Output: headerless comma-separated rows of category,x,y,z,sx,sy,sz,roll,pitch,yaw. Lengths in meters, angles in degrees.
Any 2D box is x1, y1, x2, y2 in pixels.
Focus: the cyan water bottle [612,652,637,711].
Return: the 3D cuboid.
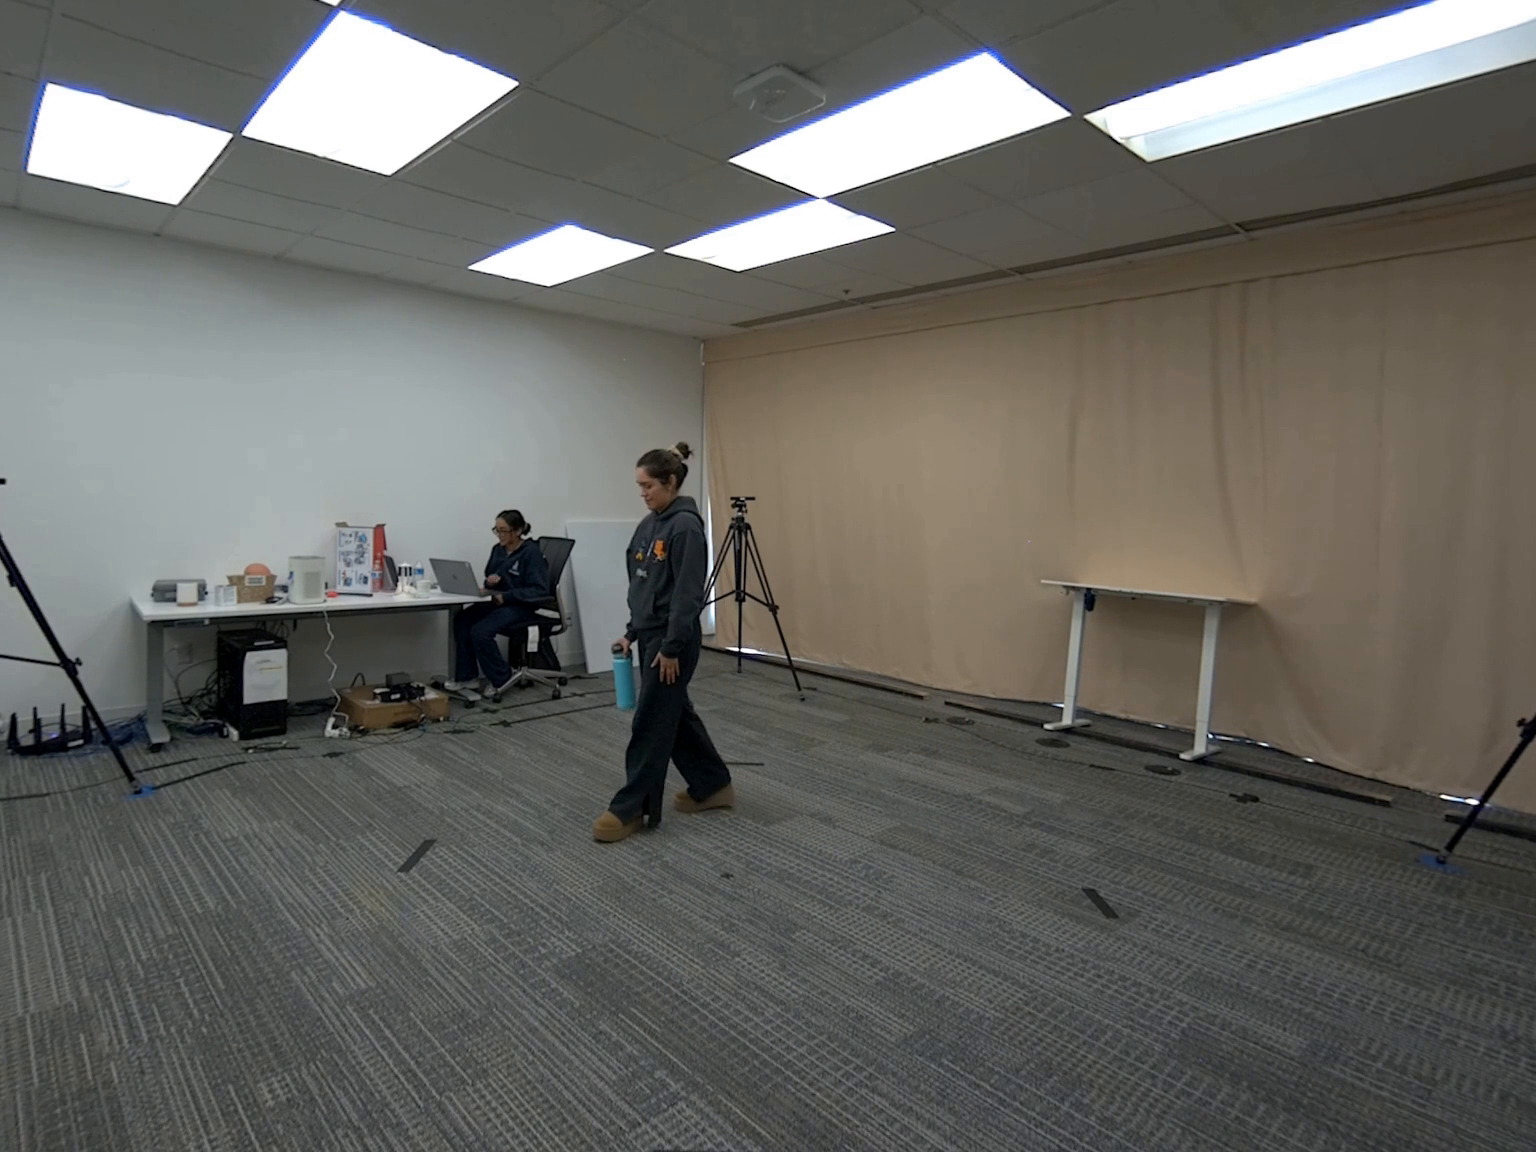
cyan water bottle,-0.656,0.444,3.782,0.092,0.282,0.093,-5,6,-1
